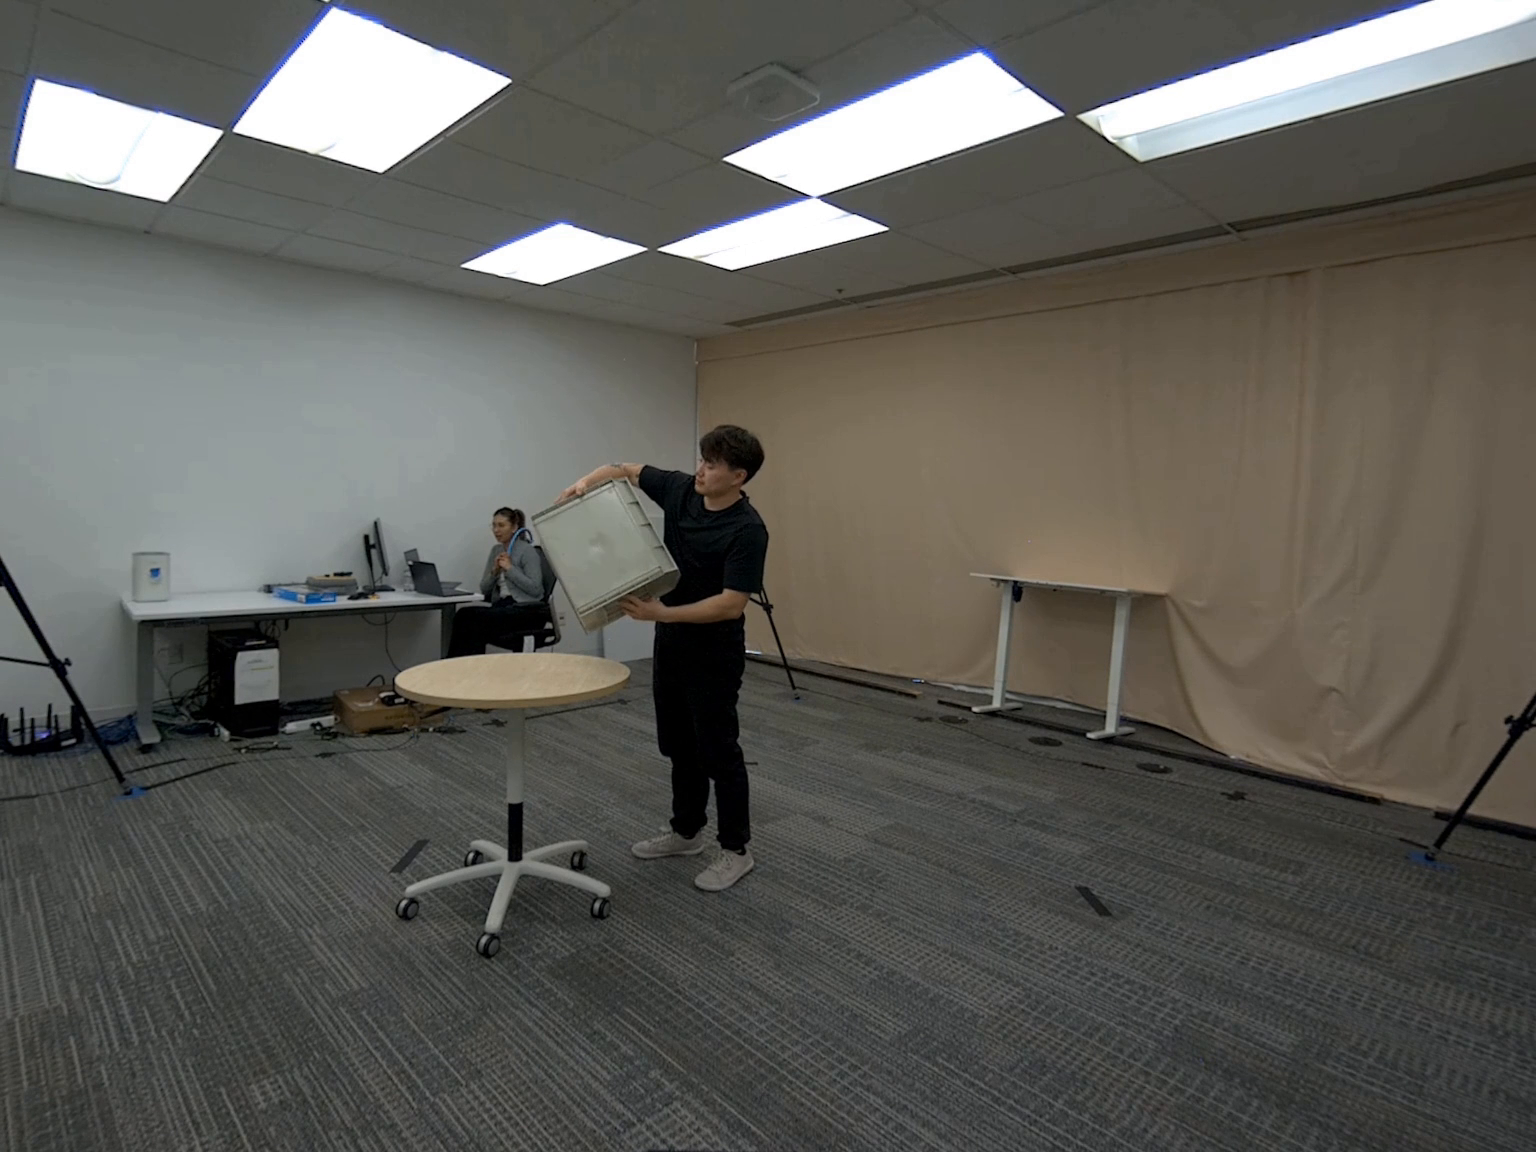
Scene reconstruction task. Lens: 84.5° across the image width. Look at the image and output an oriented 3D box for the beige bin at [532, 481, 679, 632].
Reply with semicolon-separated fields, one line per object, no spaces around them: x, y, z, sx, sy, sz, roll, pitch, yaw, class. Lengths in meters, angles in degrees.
-0.576;-0.078;2.921;0.376;0.431;0.186;-28;-20;-11;beige bin
